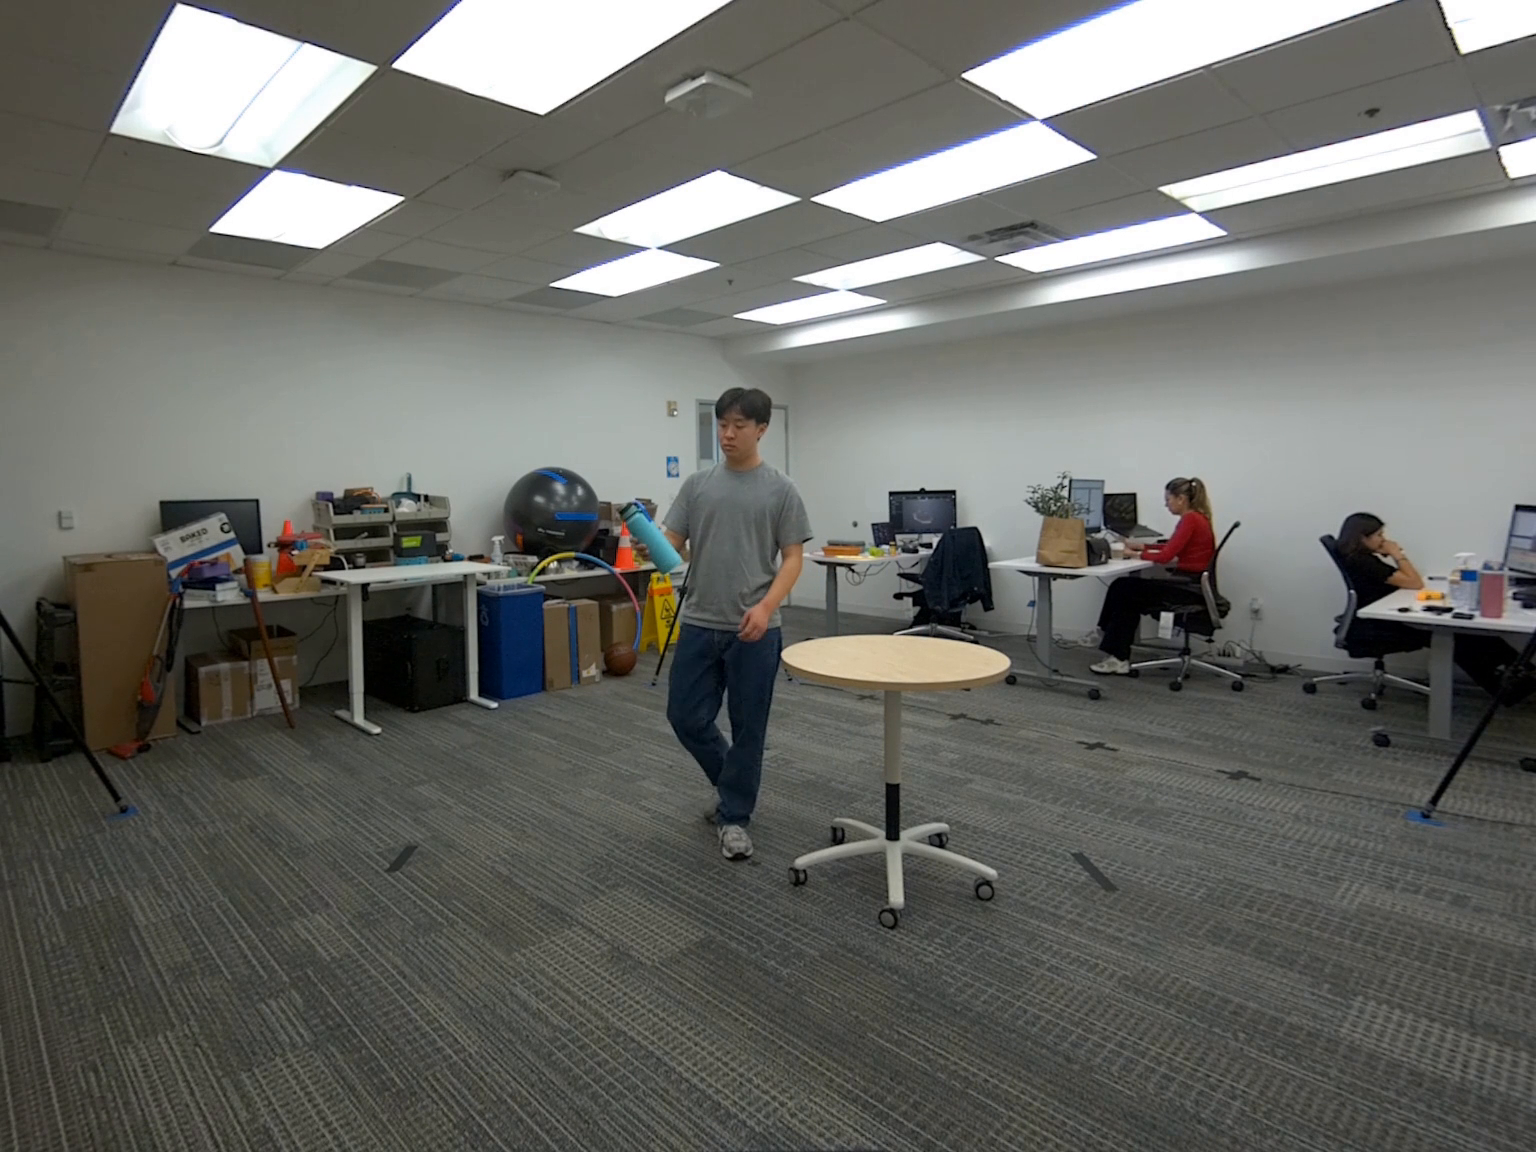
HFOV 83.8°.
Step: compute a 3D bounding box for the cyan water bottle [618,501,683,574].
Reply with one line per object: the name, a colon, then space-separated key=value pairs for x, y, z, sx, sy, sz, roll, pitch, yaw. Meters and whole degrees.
cyan water bottle: x=-0.413 y=-0.140 z=2.966 sx=0.092 sy=0.281 sz=0.093 roll=-34 pitch=7 yaw=4
